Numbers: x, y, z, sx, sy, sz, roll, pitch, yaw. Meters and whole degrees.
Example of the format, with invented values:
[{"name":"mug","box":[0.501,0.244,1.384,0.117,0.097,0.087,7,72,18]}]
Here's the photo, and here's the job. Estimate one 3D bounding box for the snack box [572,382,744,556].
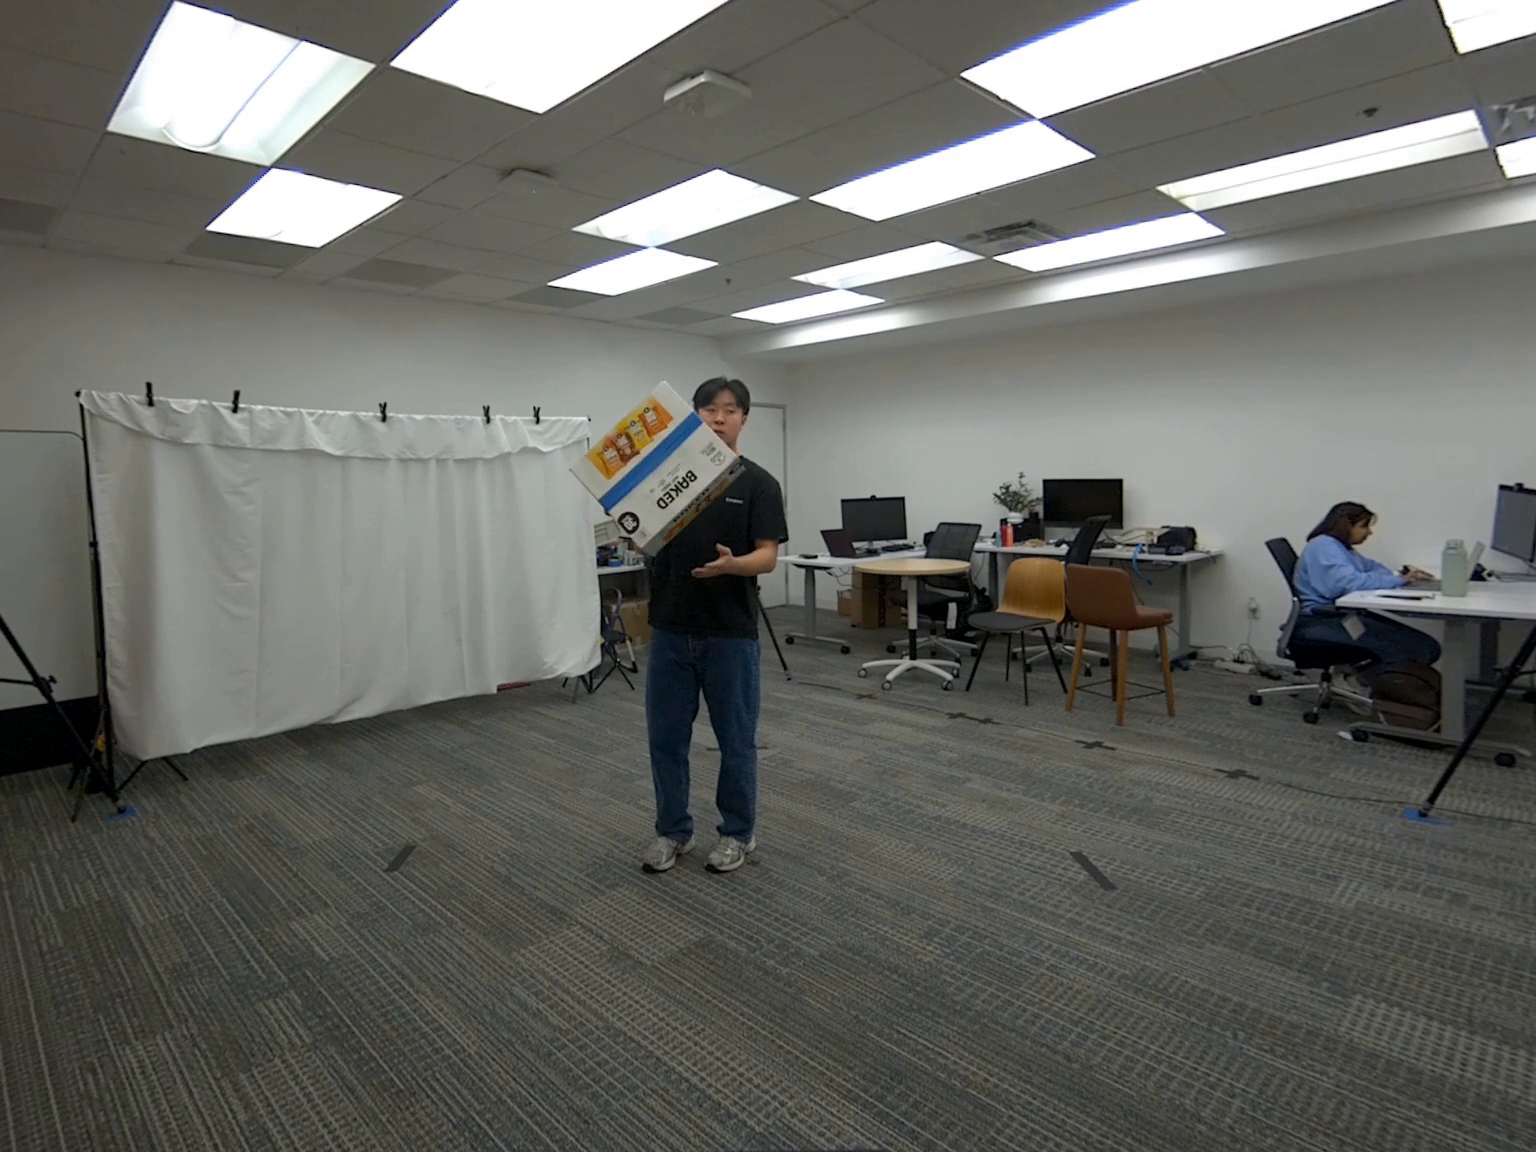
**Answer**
[{"name":"snack box","box":[-0.345,-0.328,2.681,0.405,0.346,0.202,-43,-11,1]}]
